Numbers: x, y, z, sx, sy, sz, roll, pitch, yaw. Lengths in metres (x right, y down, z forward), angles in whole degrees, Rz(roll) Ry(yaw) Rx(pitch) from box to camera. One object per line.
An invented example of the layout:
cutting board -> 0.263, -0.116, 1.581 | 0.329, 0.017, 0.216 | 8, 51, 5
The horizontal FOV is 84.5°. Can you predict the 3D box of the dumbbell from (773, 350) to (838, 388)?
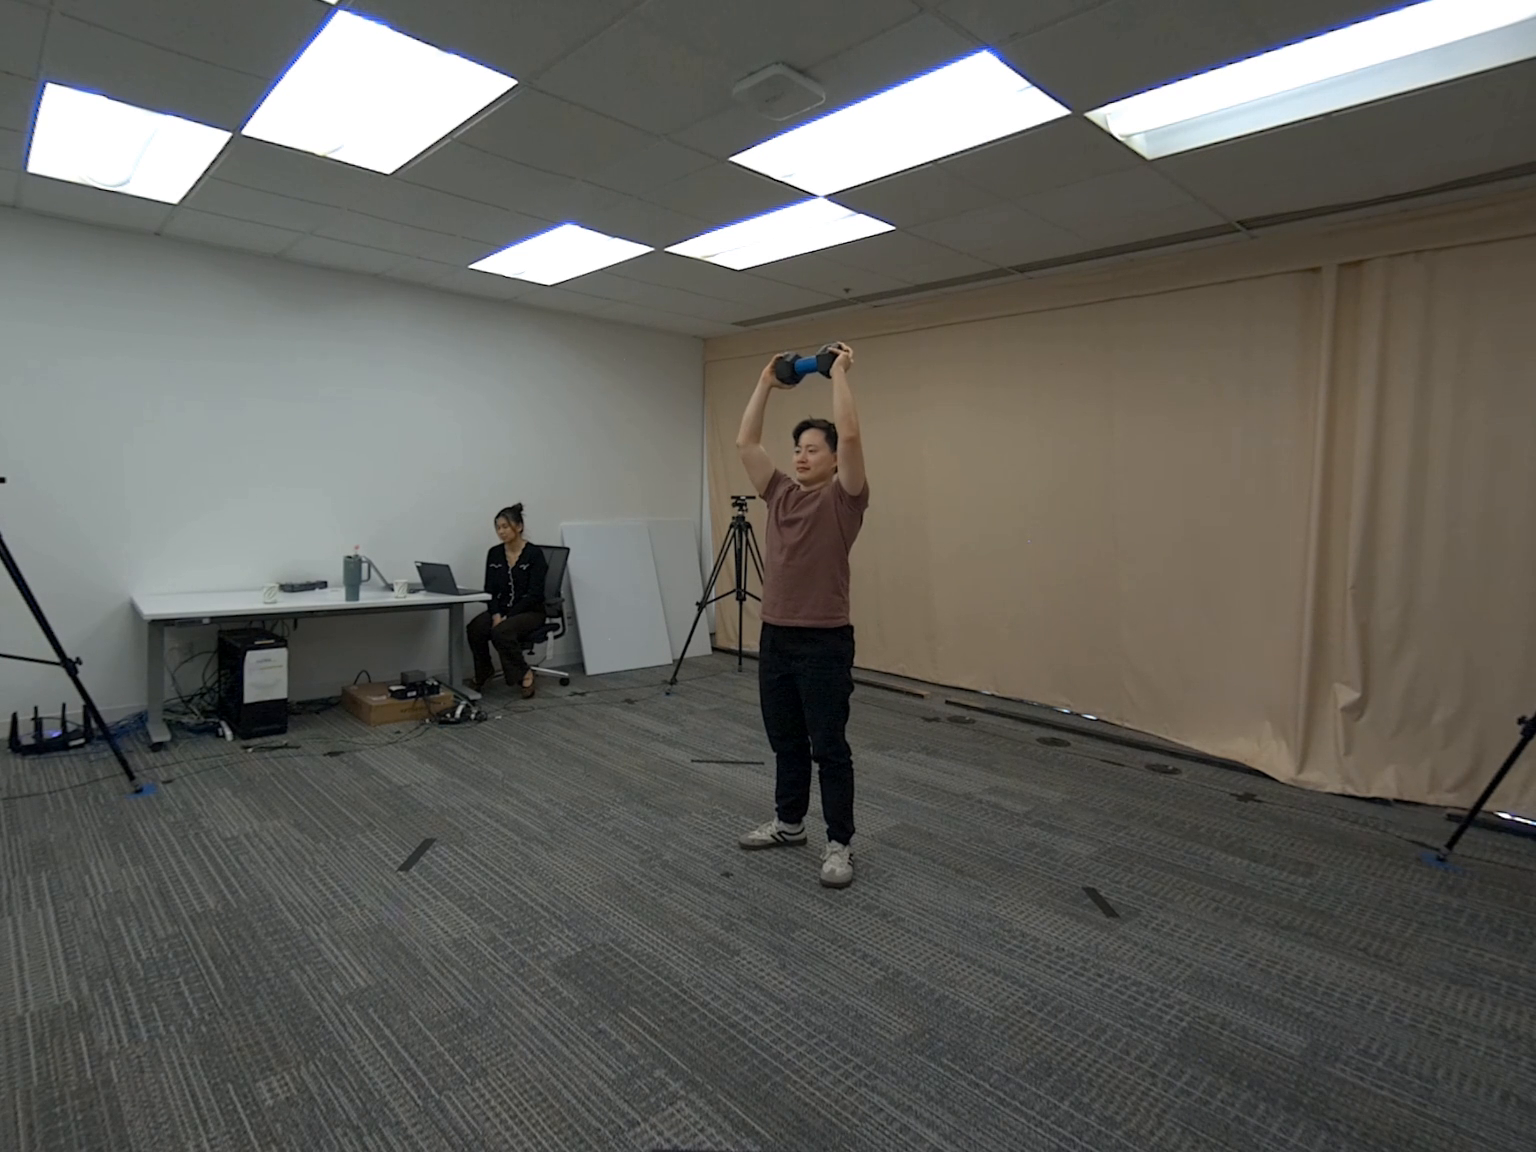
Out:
dumbbell -> 0.153, -0.780, 3.138 | 0.301, 0.106, 0.123 | 4, 46, 47
